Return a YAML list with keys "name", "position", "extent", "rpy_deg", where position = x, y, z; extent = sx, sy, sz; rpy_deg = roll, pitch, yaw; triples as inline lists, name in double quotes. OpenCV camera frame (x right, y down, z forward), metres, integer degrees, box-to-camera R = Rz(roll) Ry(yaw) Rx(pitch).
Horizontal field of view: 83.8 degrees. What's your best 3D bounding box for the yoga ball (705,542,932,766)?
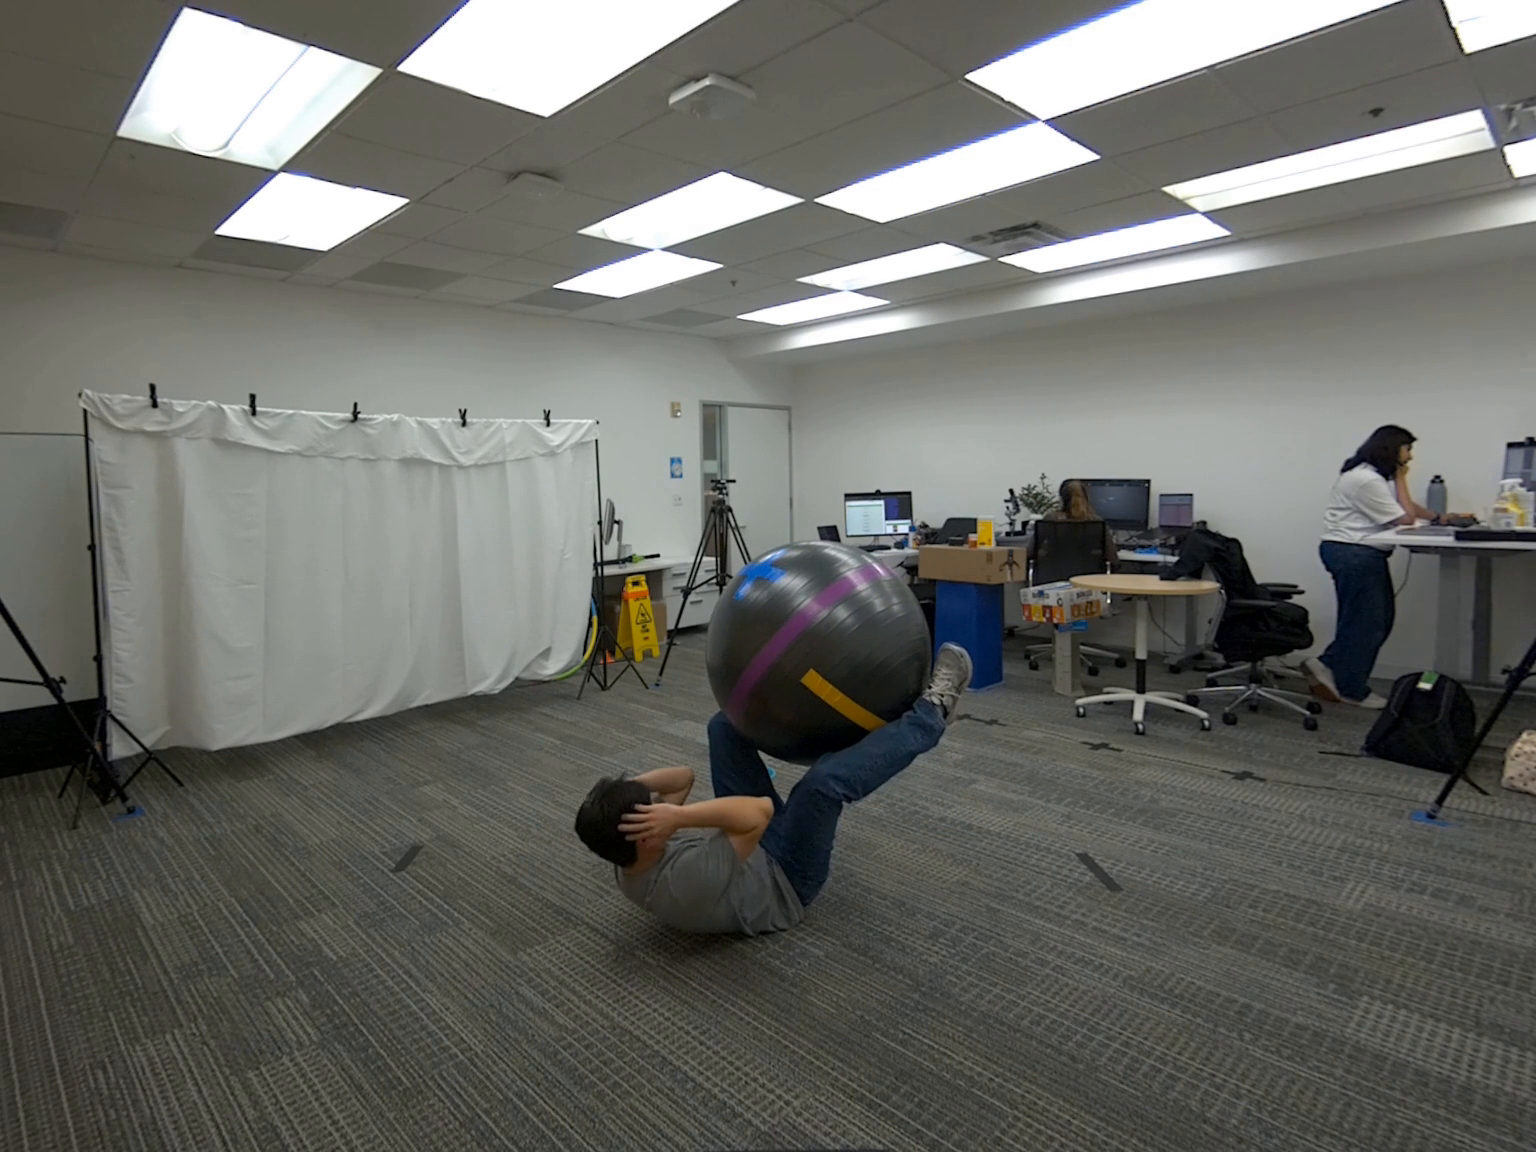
- name: "yoga ball"
  position: [0.167, 0.260, 2.895]
  extent: [0.757, 0.755, 0.762]
  rpy_deg: [-1, 5, -2]
